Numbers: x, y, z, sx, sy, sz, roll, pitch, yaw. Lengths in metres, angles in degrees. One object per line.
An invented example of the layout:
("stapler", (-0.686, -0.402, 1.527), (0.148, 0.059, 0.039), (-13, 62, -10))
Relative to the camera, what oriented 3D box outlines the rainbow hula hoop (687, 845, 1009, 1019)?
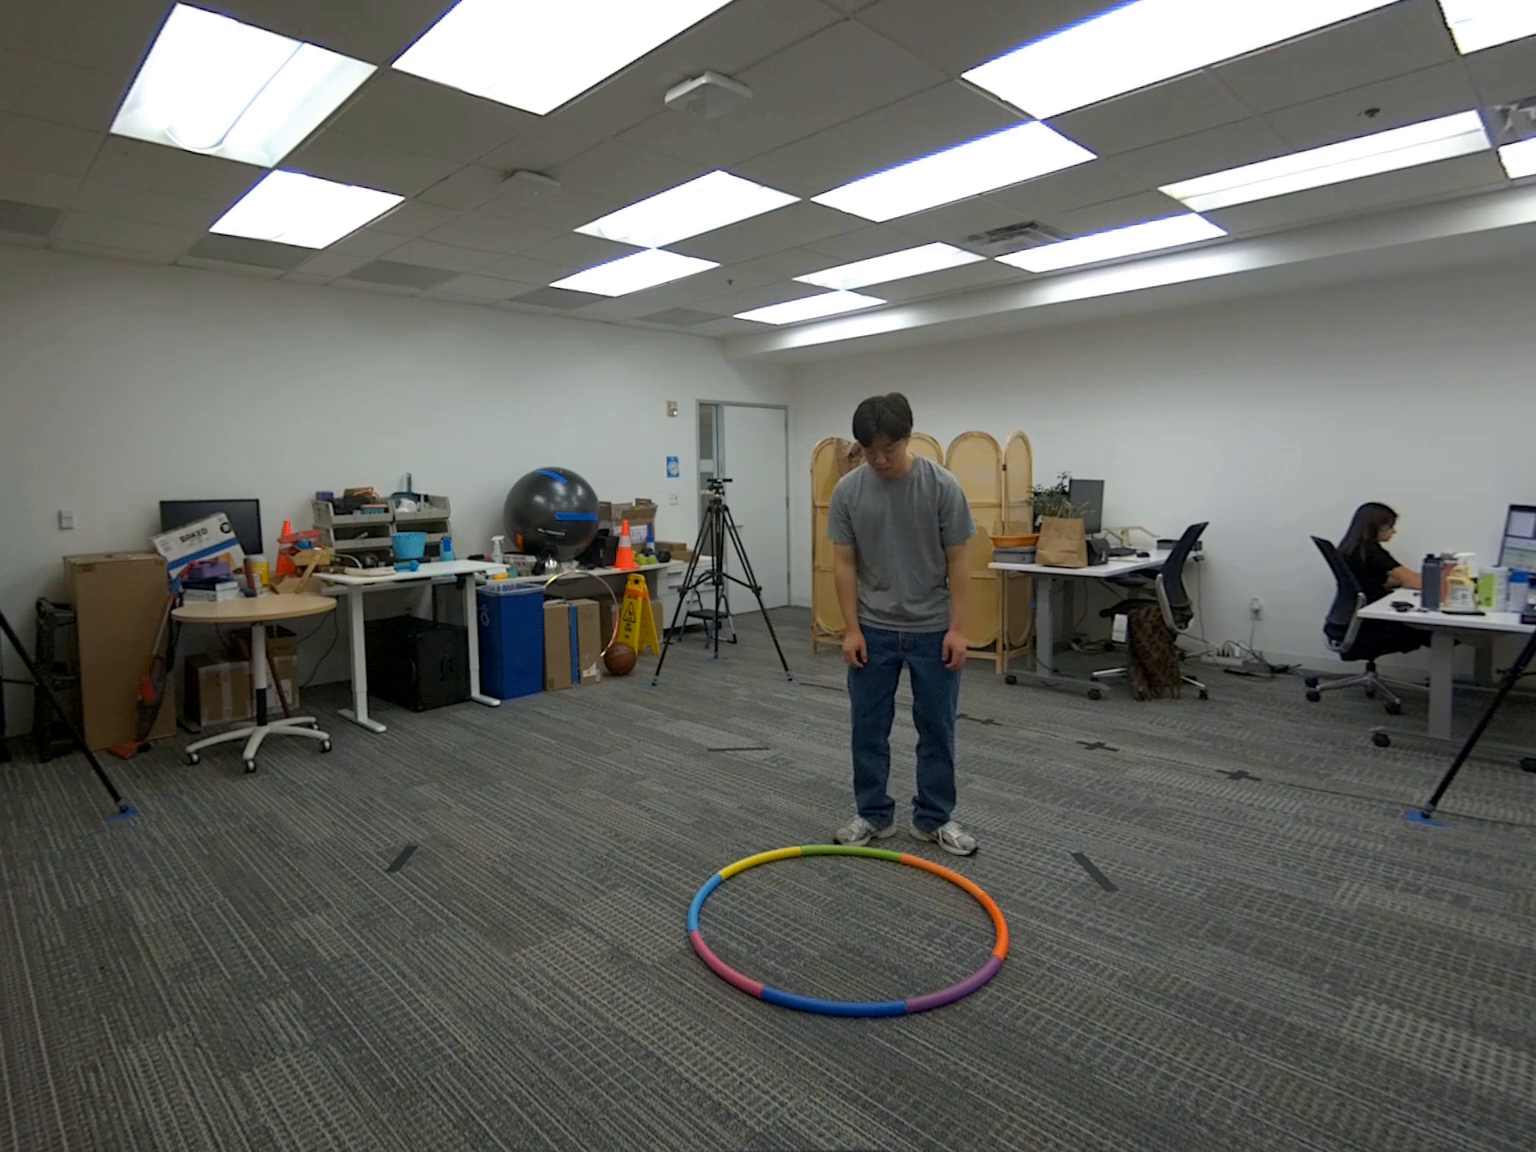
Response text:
("rainbow hula hoop", (0.236, 1.059, 2.696), (0.978, 0.035, 0.984), (-2, 7, -1))
